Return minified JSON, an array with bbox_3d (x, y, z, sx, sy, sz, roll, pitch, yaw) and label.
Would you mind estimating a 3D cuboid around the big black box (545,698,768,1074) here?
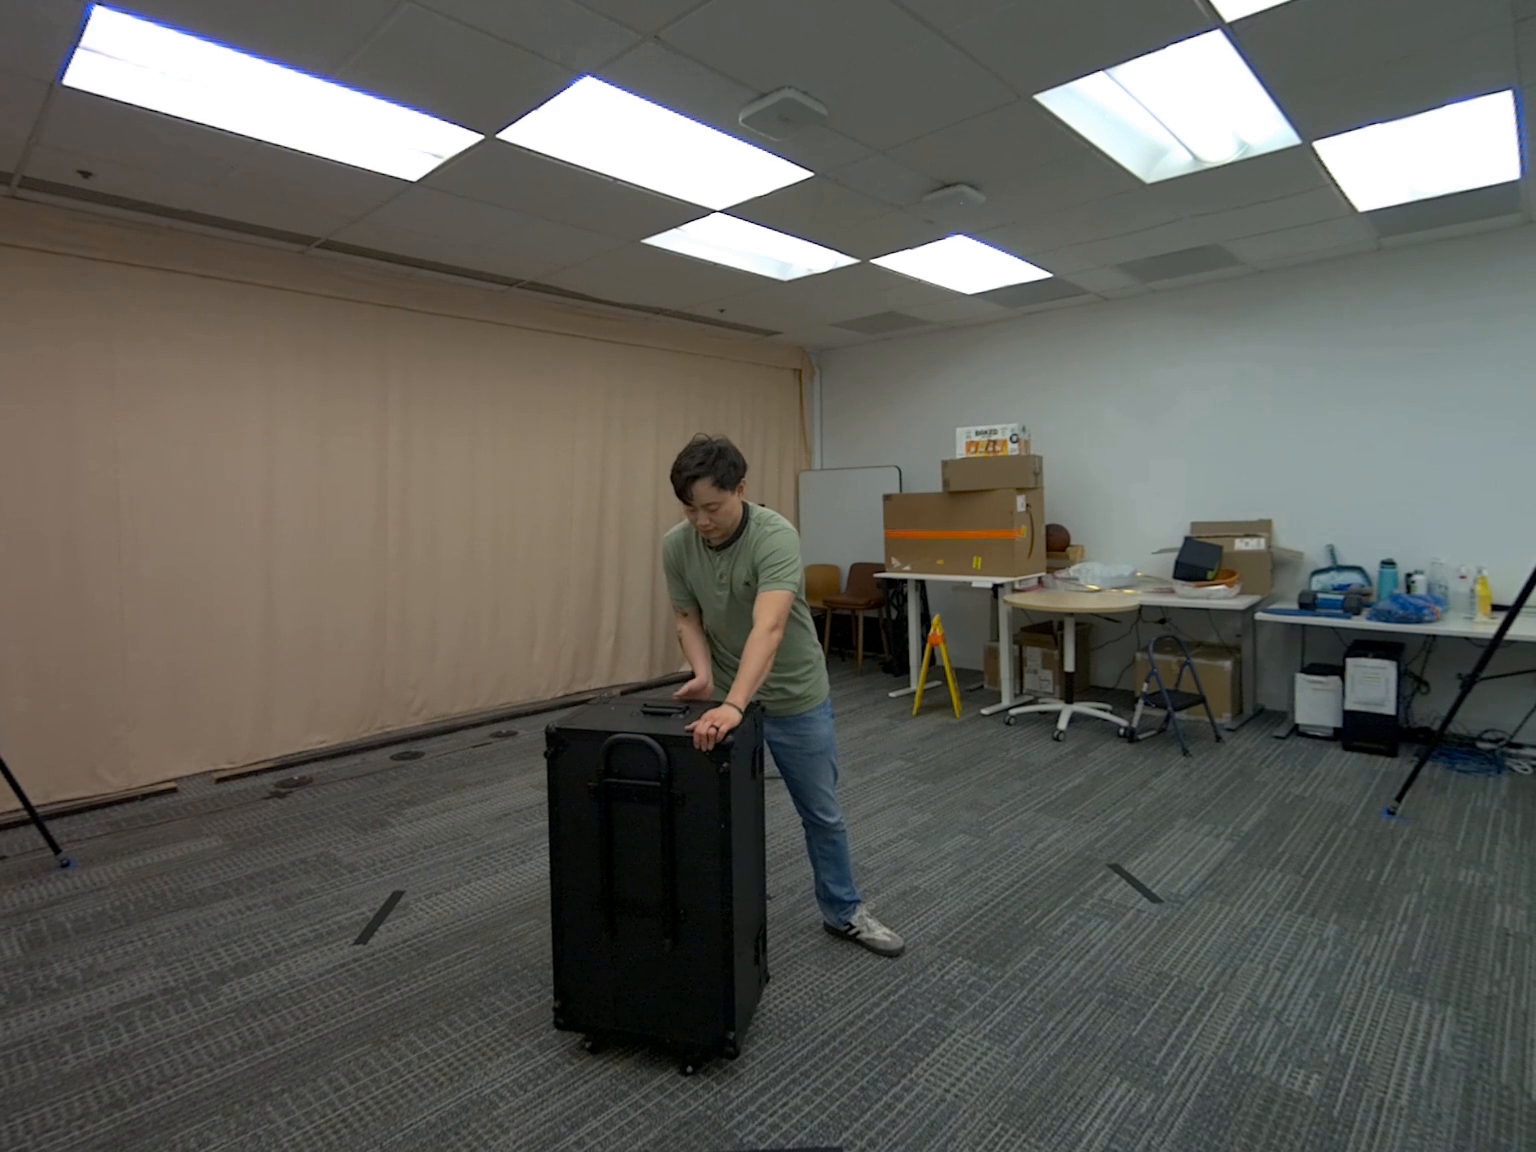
[{"bbox_3d":[-0.271,0.788,2.207,0.530,0.860,0.390,-1,3,15],"label":"big black box"}]
